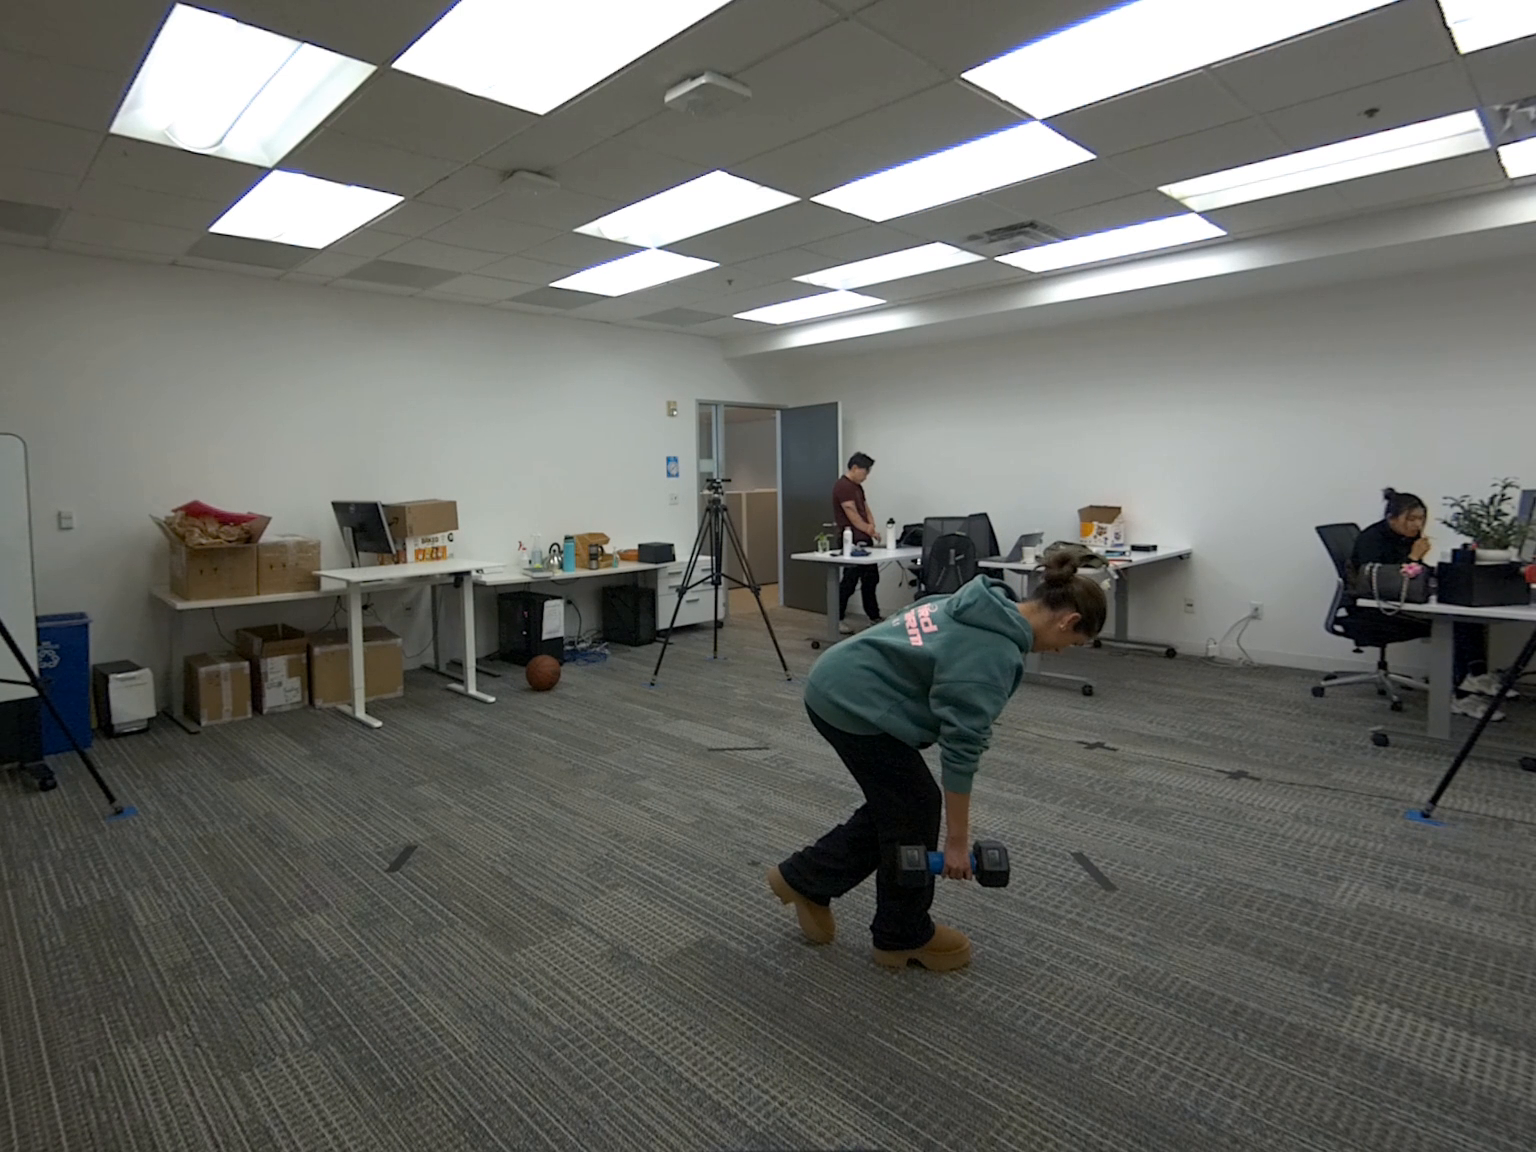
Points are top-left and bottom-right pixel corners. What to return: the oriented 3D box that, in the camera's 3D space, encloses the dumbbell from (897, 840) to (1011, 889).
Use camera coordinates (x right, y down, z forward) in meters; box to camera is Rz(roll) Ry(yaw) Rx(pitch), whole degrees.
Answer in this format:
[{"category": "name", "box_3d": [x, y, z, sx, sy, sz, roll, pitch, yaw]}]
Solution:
[{"category": "dumbbell", "box_3d": [0.502, 0.775, 2.302, 0.295, 0.120, 0.111, -2, 26, 4]}]
